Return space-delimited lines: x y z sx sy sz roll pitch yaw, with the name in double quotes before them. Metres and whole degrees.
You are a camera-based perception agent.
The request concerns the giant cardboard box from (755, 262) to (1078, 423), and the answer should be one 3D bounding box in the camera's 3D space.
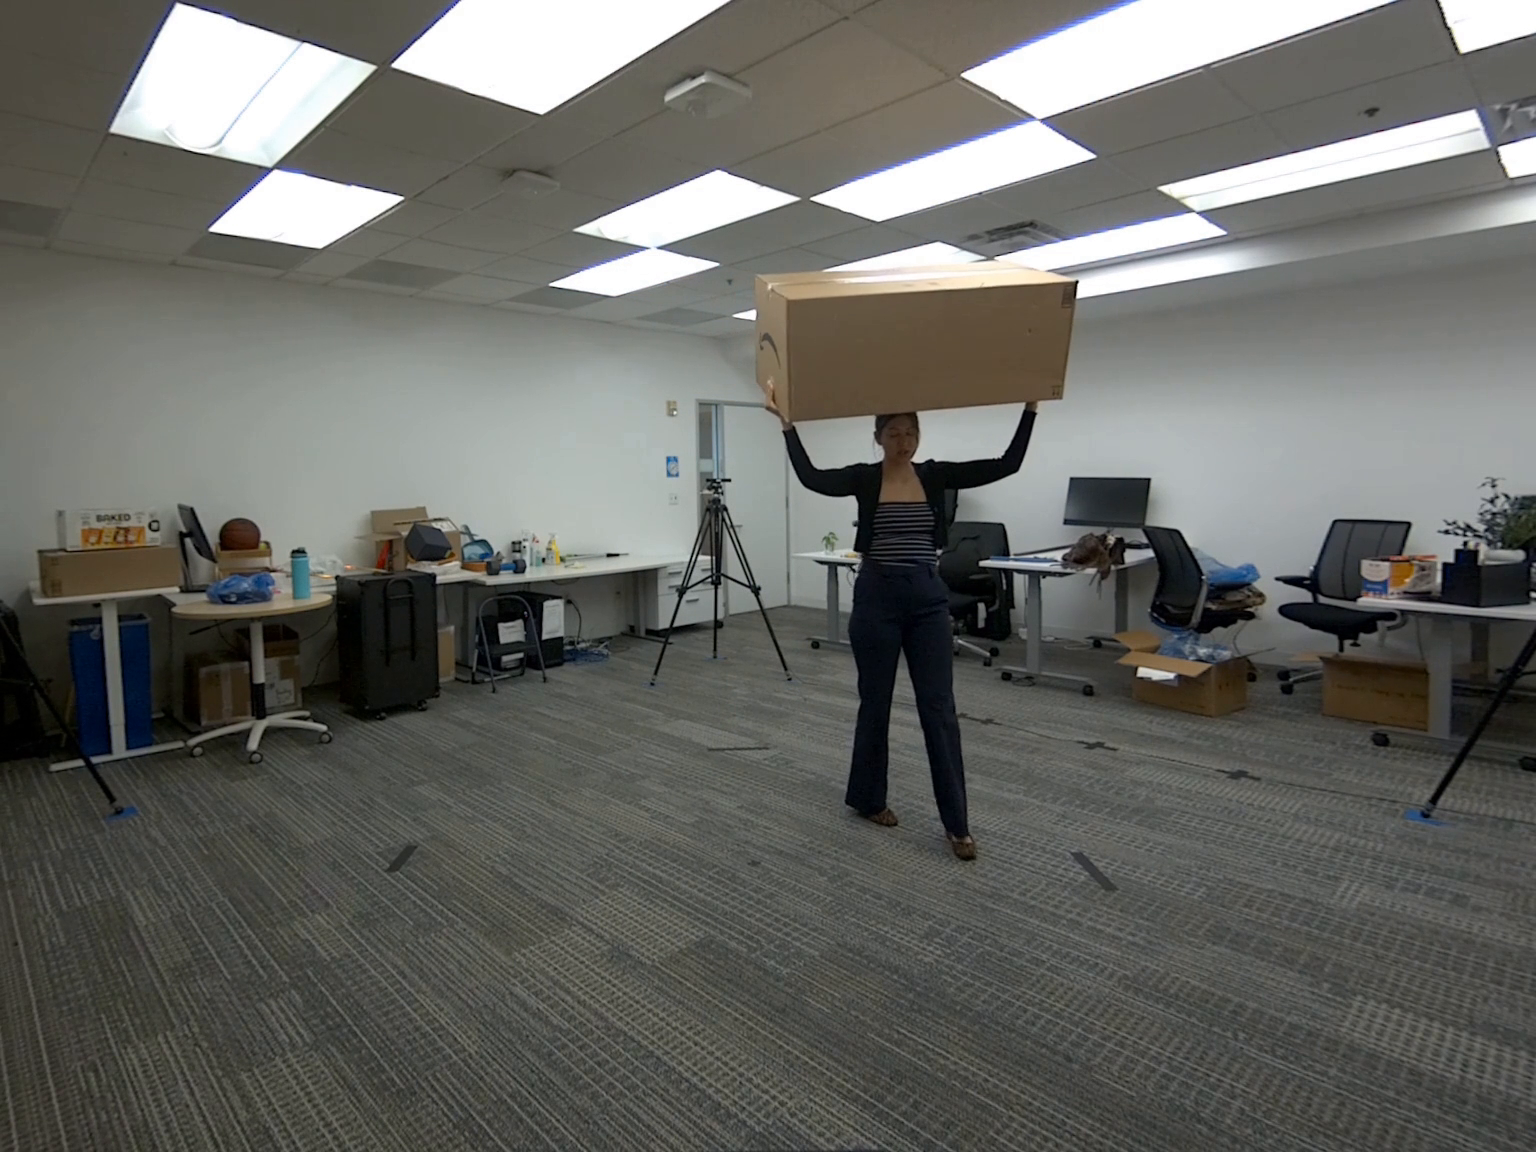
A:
"giant cardboard box" 0.508 -0.896 3.188 1.019 0.417 0.594 -6 26 -8
